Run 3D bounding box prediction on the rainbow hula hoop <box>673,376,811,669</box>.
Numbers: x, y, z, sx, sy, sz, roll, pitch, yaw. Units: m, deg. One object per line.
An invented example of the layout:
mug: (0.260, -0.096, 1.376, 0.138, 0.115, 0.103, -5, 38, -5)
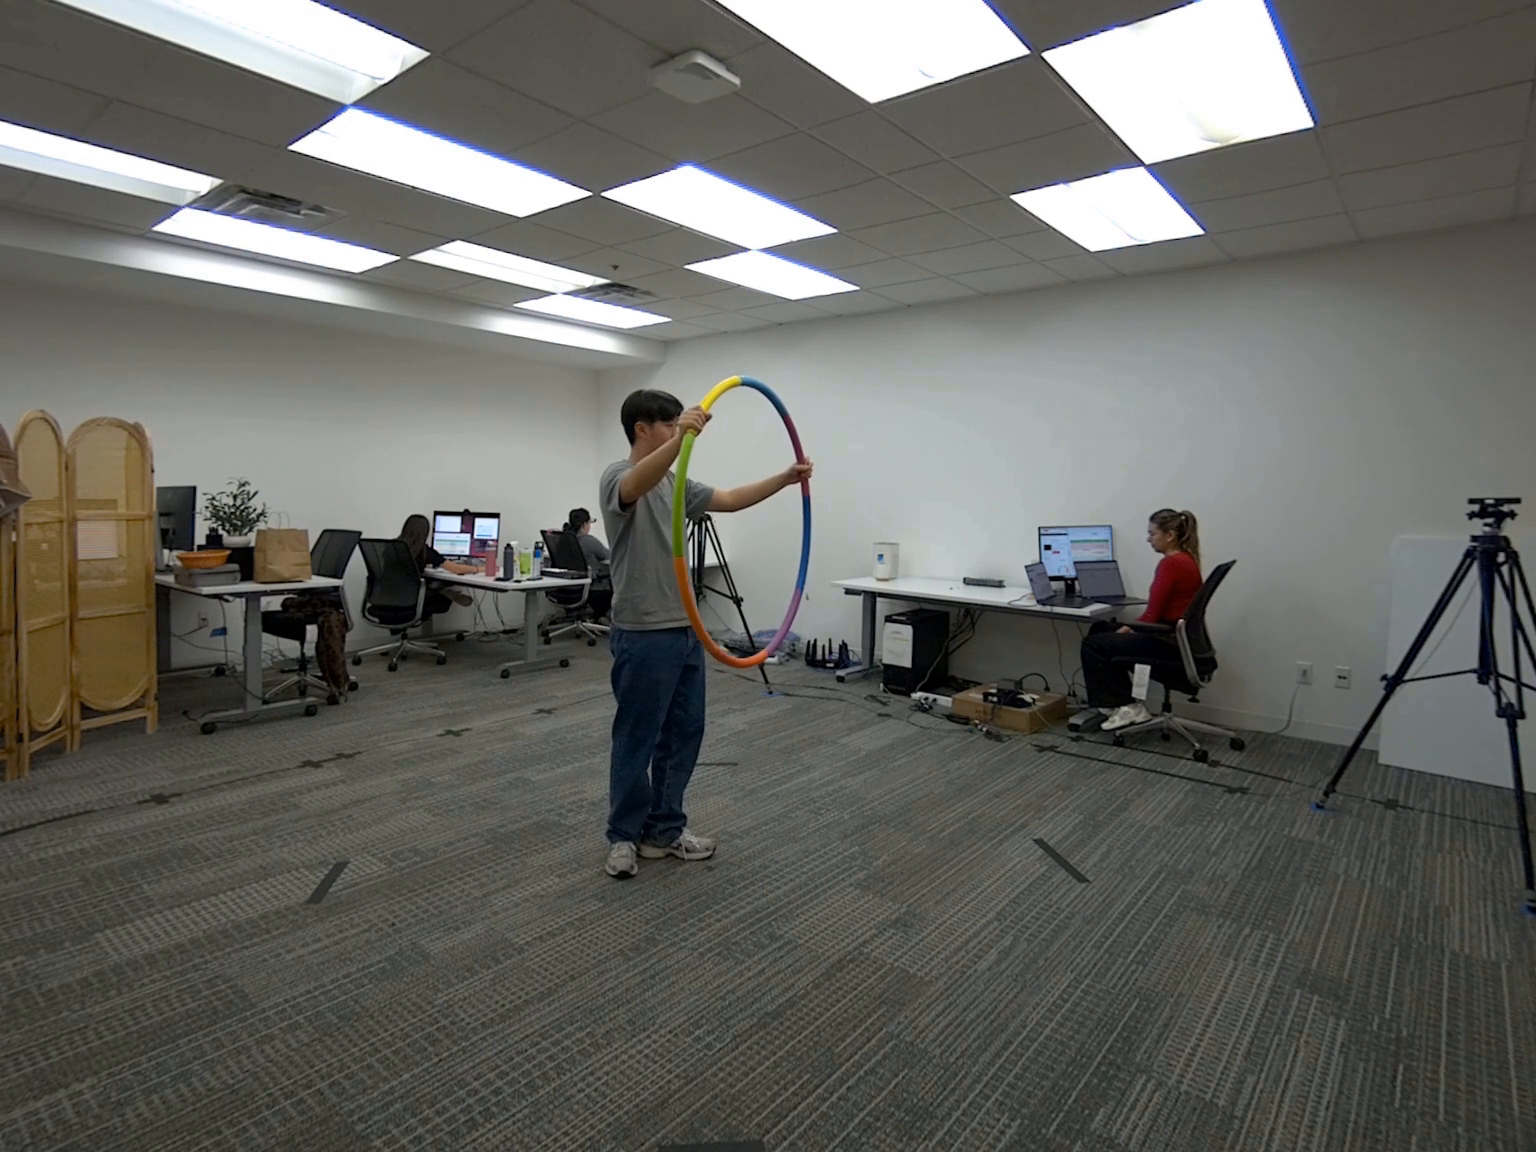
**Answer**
rainbow hula hoop: (-0.075, -0.181, 2.908, 0.036, 0.976, 0.955, 1, 4, 27)
